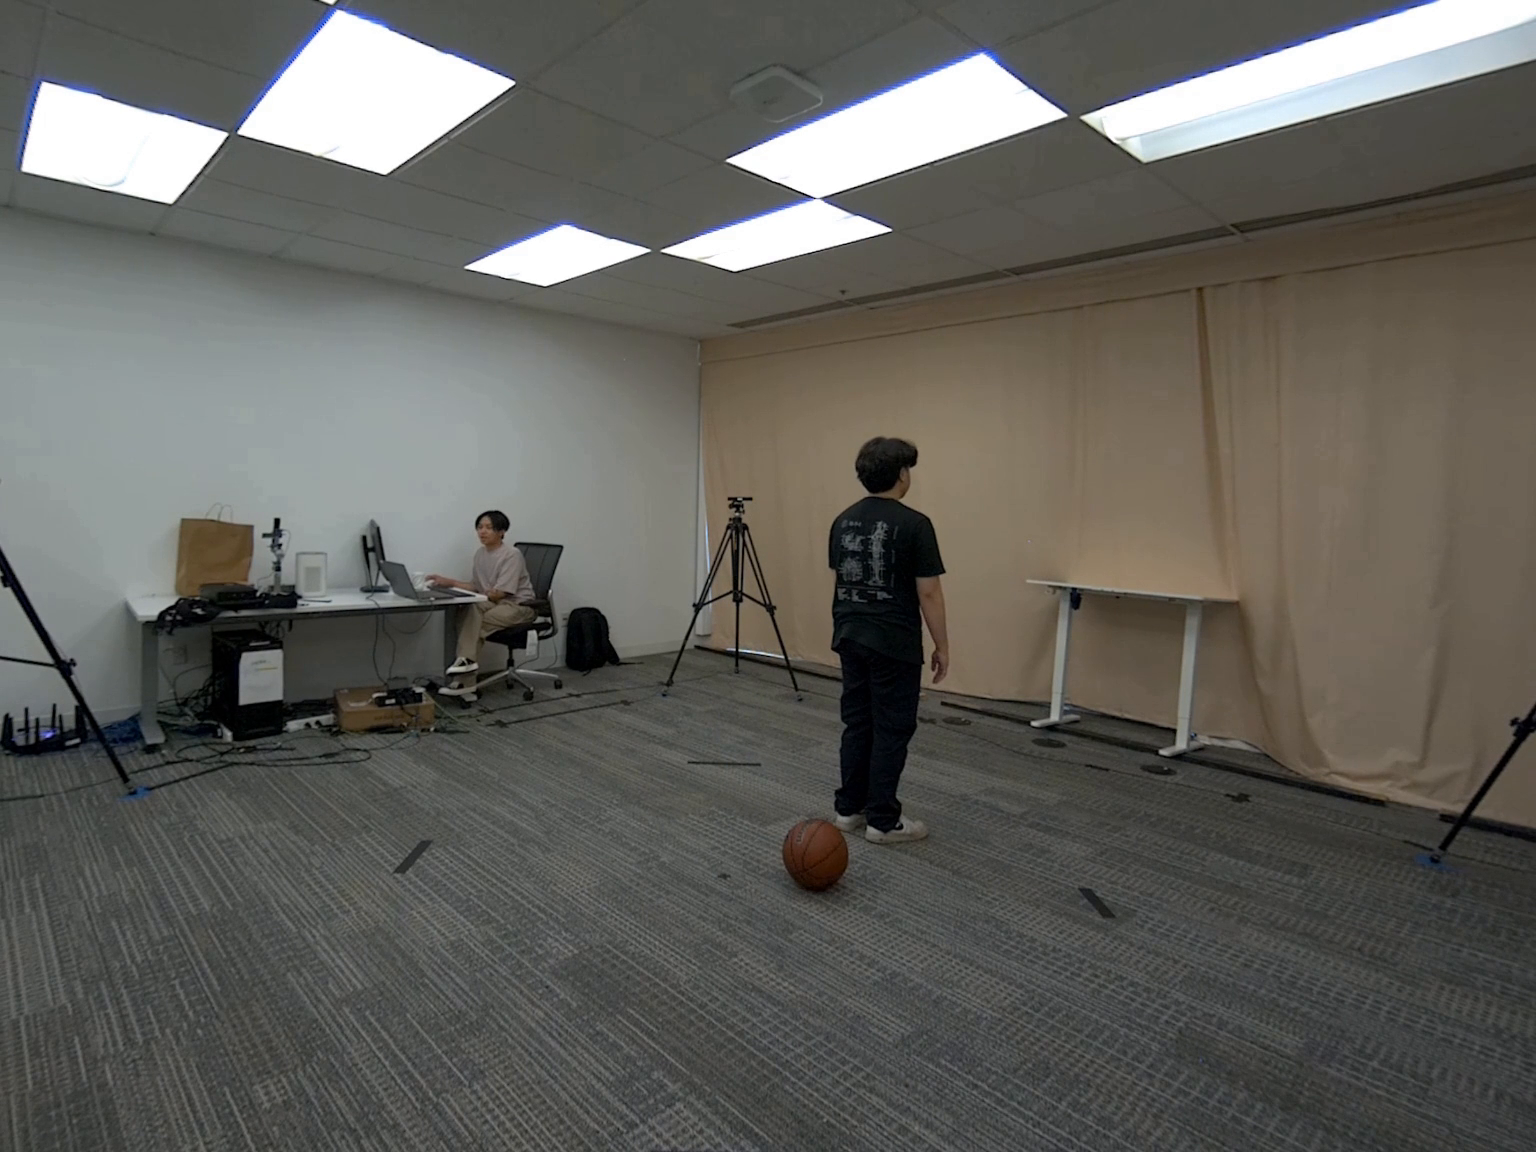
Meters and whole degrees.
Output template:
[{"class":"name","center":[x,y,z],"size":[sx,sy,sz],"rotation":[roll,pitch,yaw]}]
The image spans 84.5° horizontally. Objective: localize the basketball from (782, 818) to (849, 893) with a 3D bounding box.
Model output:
[{"class":"basketball","center":[0.164,1.001,3.032],"size":[0.236,0.235,0.237],"rotation":[1,4,-1]}]
